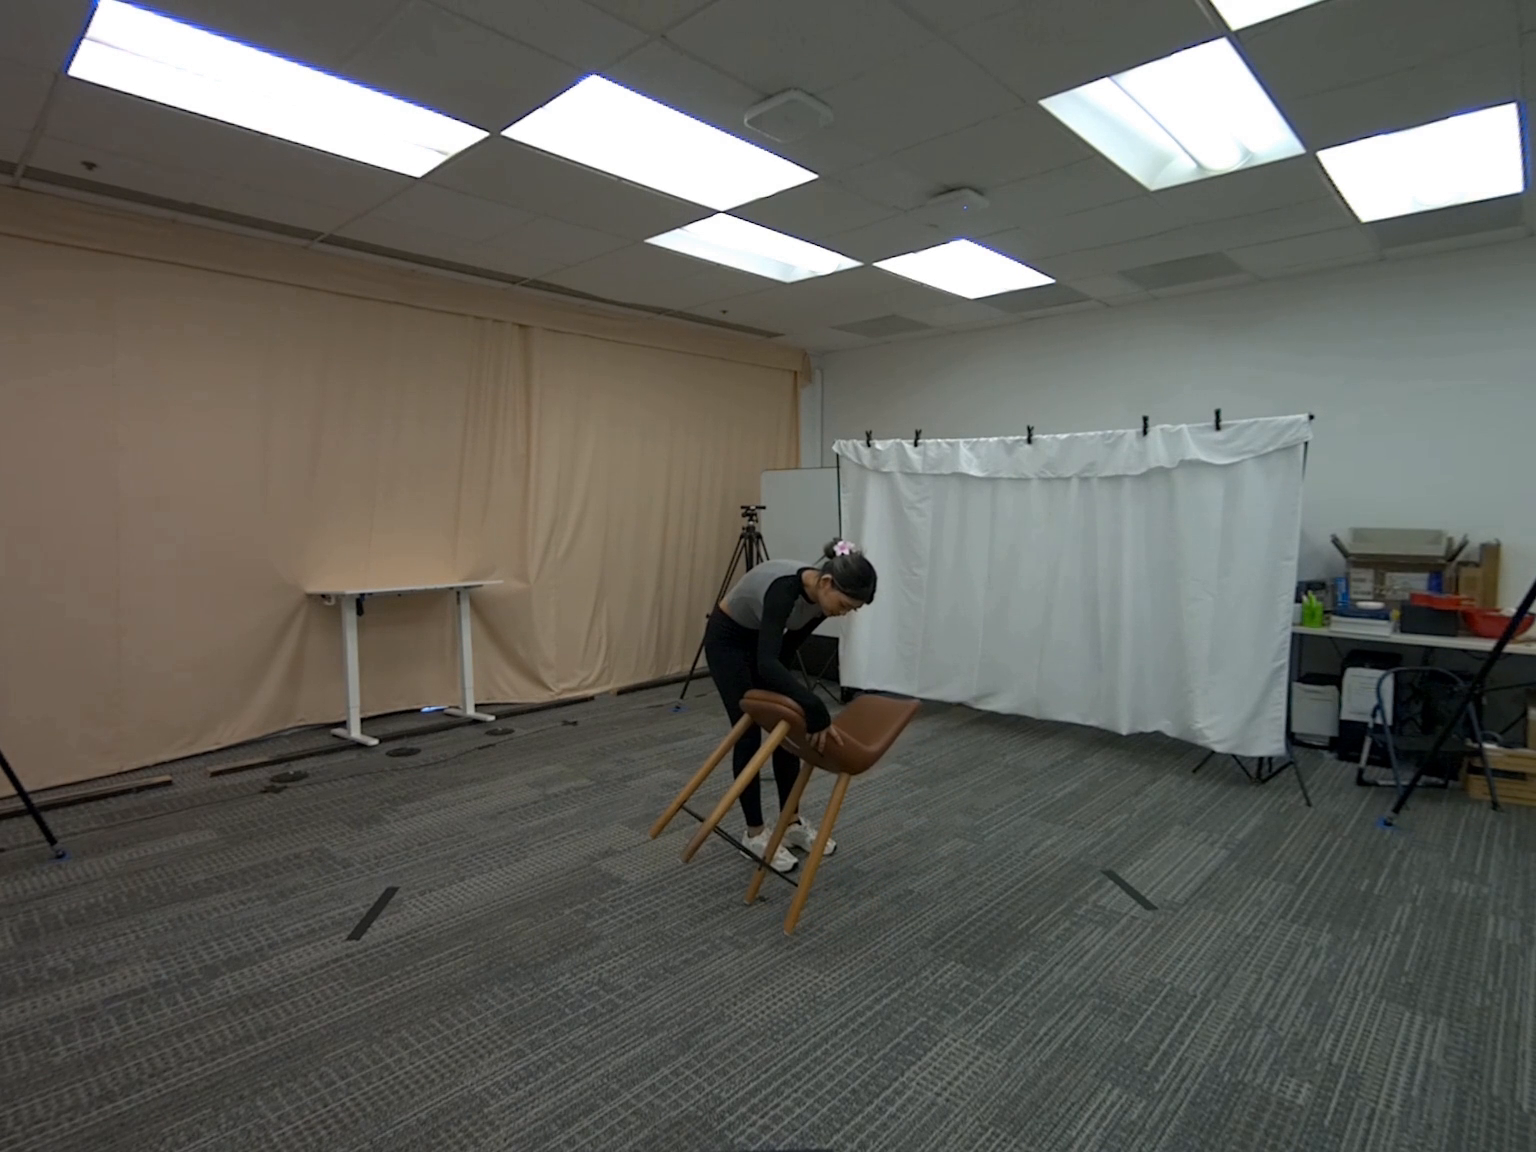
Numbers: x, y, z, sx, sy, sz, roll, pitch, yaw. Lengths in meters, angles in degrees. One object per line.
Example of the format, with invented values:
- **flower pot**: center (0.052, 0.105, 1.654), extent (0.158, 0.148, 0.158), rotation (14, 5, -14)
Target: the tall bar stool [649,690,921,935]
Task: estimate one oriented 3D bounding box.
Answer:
- **tall bar stool**: center (0.067, 0.664, 2.859), extent (0.461, 0.888, 0.464), rotation (39, -17, -12)
